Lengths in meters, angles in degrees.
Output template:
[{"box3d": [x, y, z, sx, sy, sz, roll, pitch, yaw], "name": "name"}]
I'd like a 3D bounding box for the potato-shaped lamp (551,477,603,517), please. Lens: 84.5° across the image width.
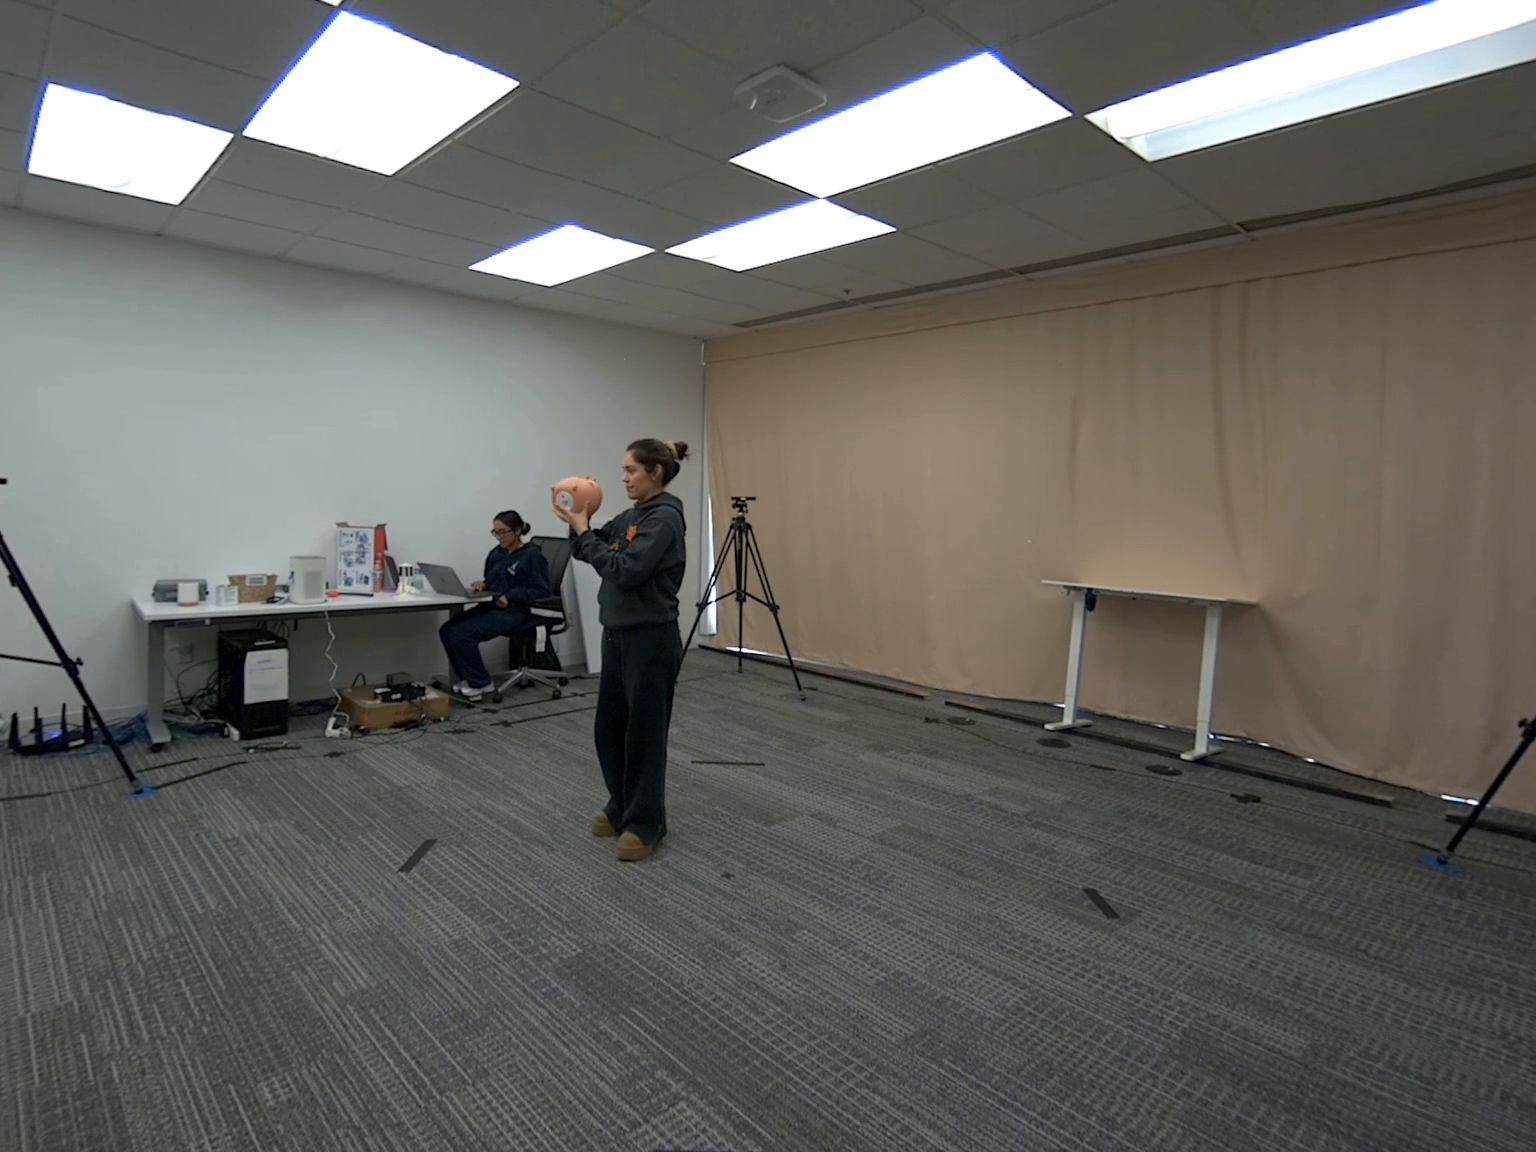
[{"box3d": [-0.738, -0.310, 3.251, 0.167, 0.169, 0.198, -3, 18, 22], "name": "potato-shaped lamp"}]
